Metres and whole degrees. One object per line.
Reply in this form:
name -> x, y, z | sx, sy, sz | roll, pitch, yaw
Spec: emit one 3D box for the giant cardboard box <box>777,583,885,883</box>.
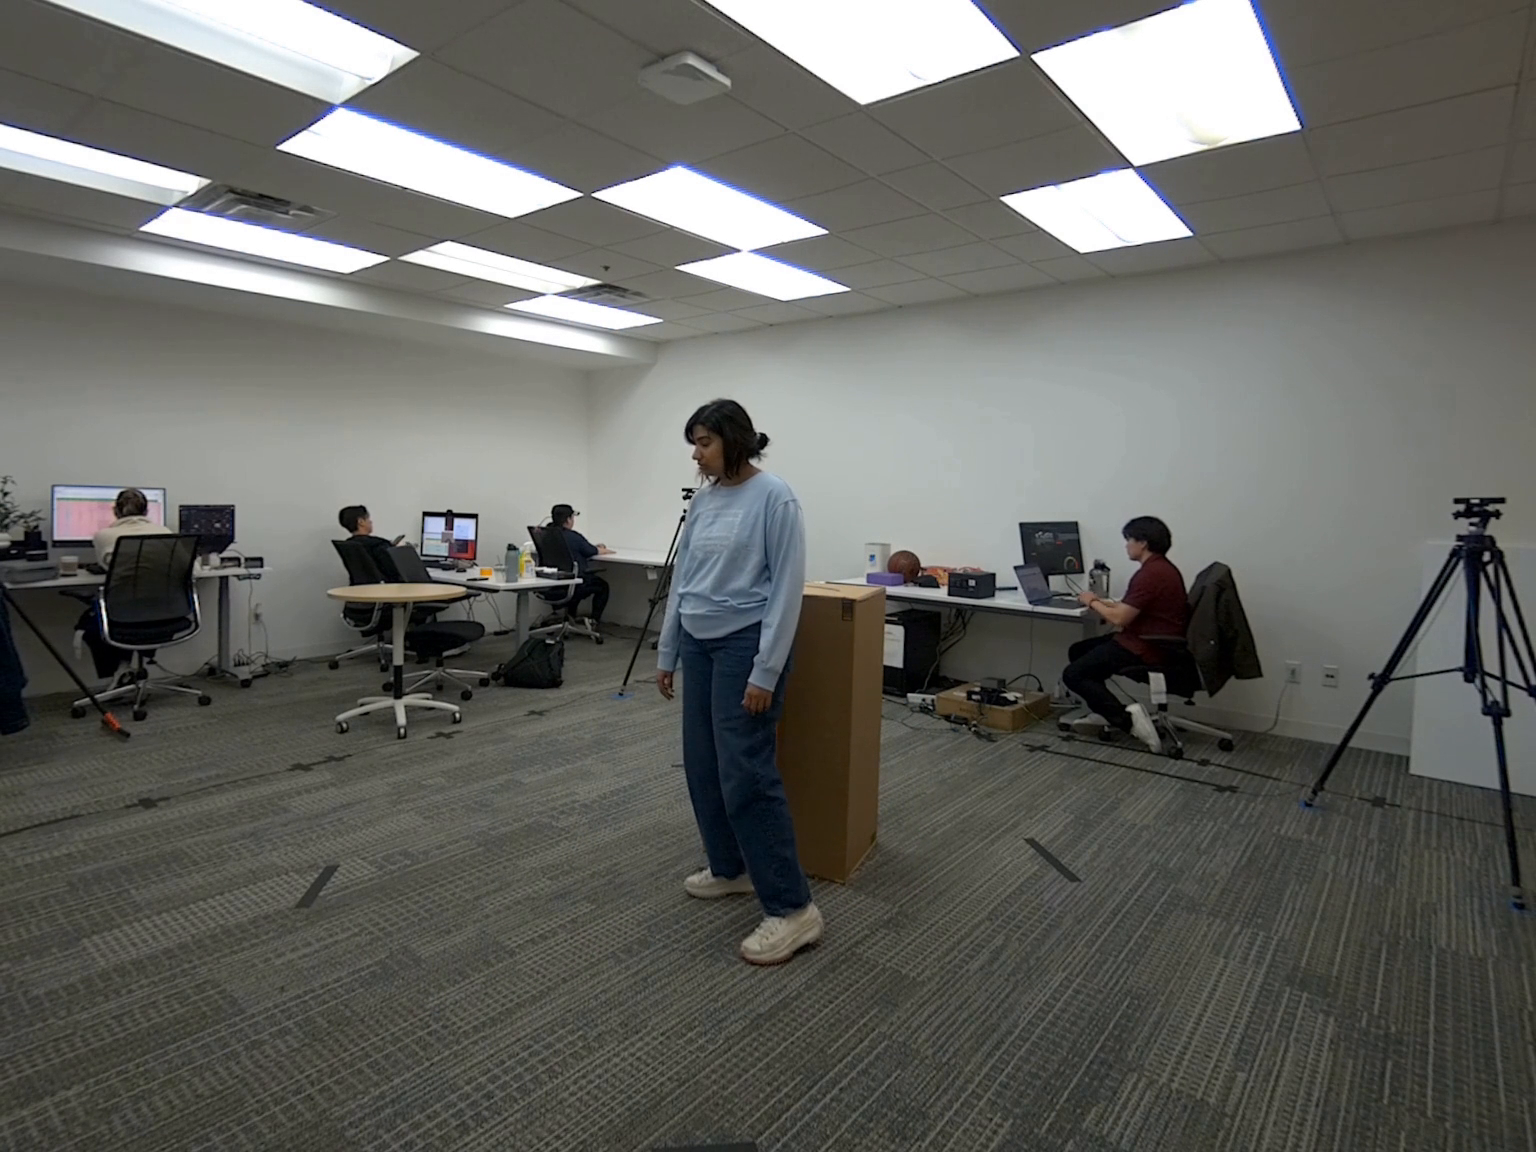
giant cardboard box -> 0.104, 0.548, 3.298 | 0.593, 1.022, 0.416 | 3, 4, 25
